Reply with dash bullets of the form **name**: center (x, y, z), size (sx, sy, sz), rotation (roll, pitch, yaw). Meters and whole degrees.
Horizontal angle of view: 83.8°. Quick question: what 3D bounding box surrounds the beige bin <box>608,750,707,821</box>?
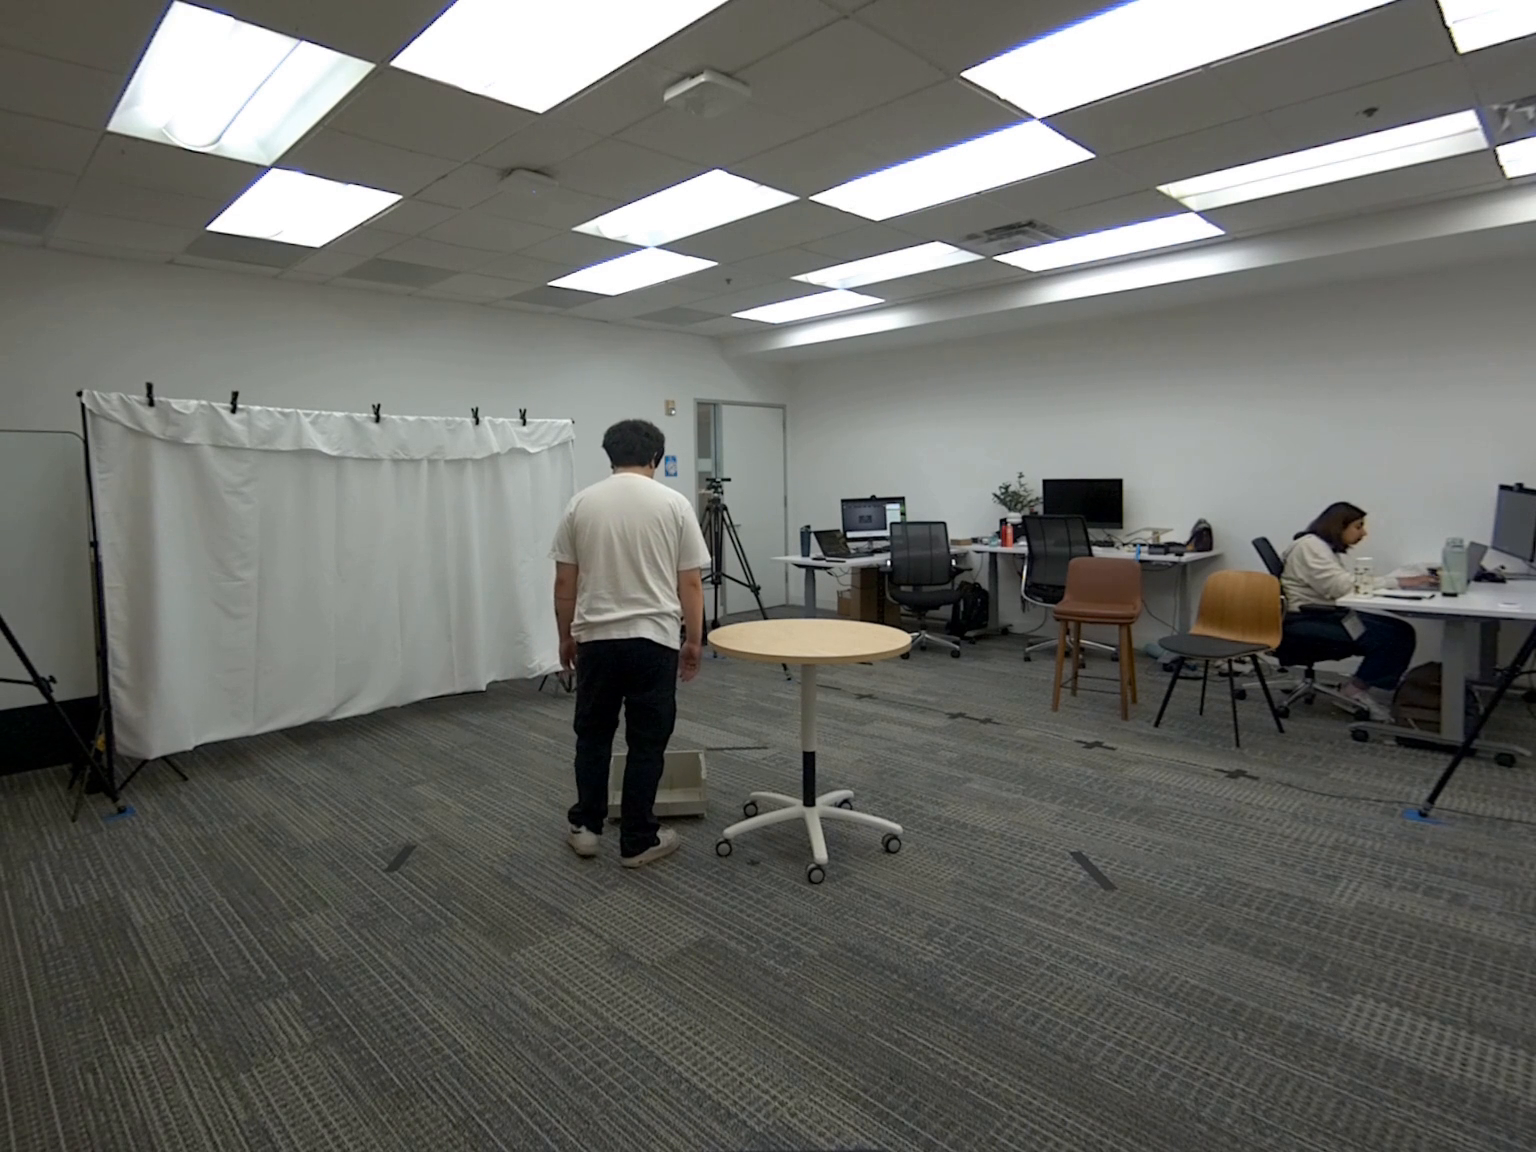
- **beige bin**: center (-0.475, 0.903, 3.659), size (0.420, 0.188, 0.380), rotation (-2, 5, -5)
